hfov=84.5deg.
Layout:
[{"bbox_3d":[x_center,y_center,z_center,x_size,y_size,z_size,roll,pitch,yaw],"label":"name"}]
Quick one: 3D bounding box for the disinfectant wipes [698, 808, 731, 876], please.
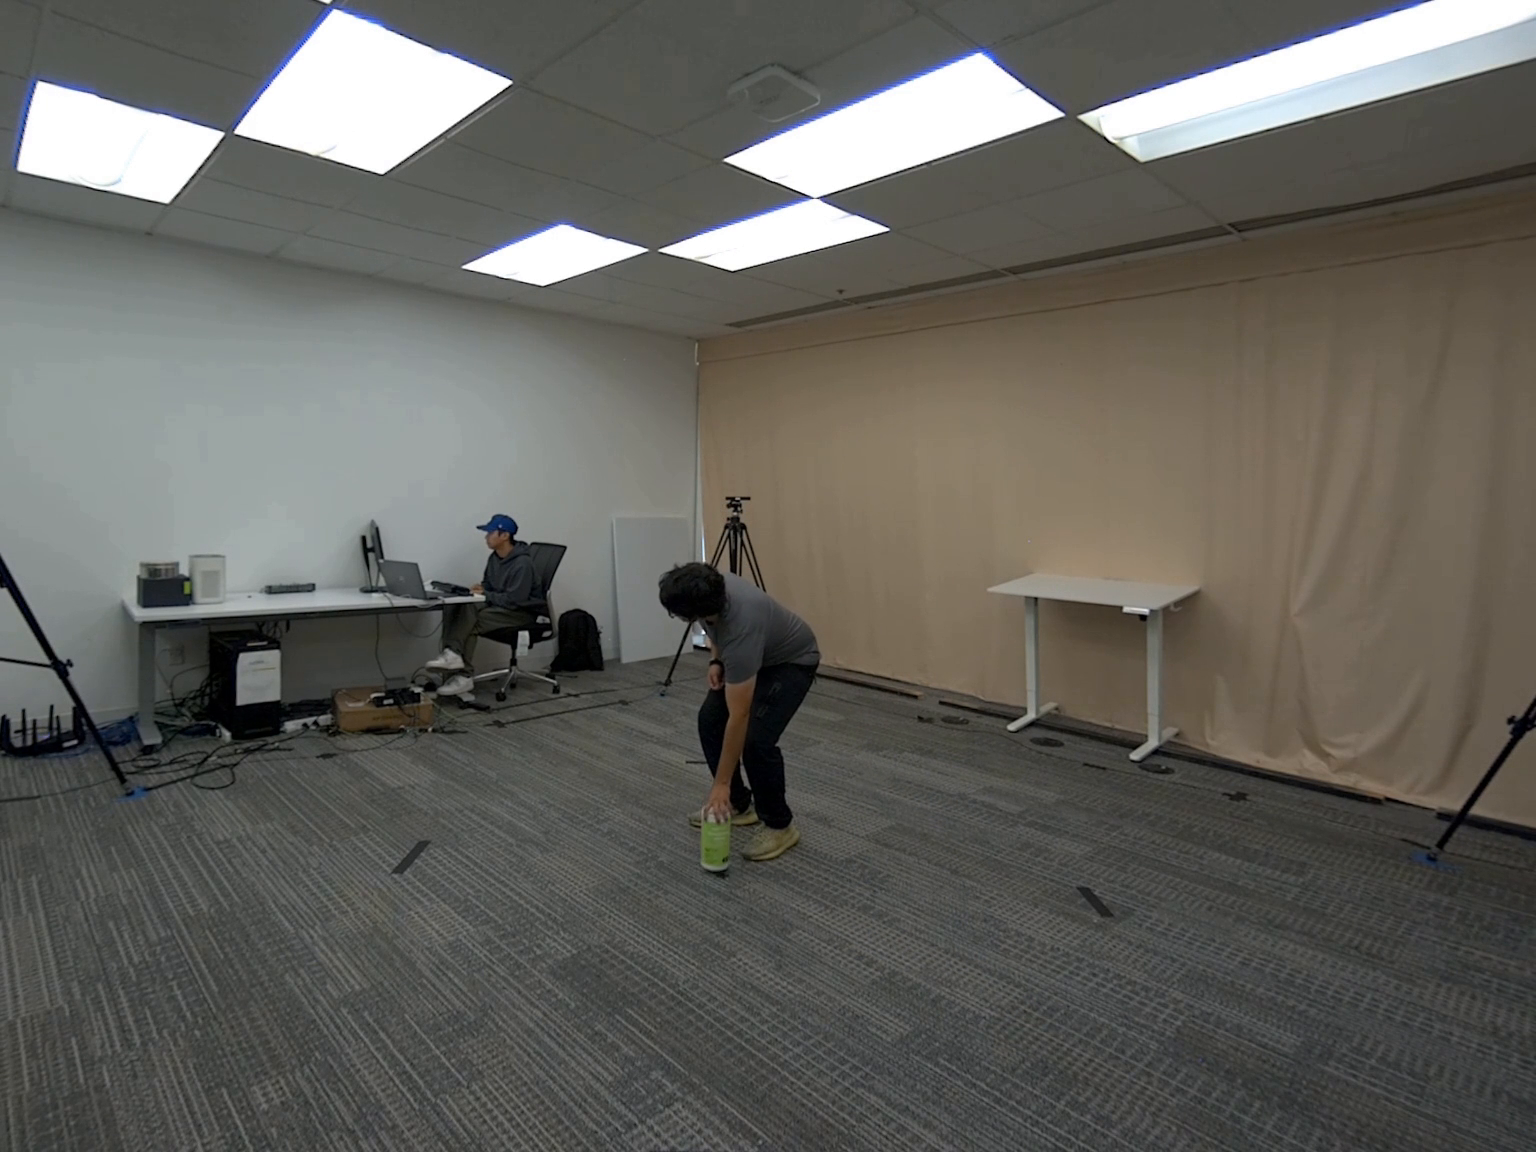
[{"bbox_3d":[-0.205,0.971,3.128,0.118,0.216,0.118,1,7,-2],"label":"disinfectant wipes"}]
